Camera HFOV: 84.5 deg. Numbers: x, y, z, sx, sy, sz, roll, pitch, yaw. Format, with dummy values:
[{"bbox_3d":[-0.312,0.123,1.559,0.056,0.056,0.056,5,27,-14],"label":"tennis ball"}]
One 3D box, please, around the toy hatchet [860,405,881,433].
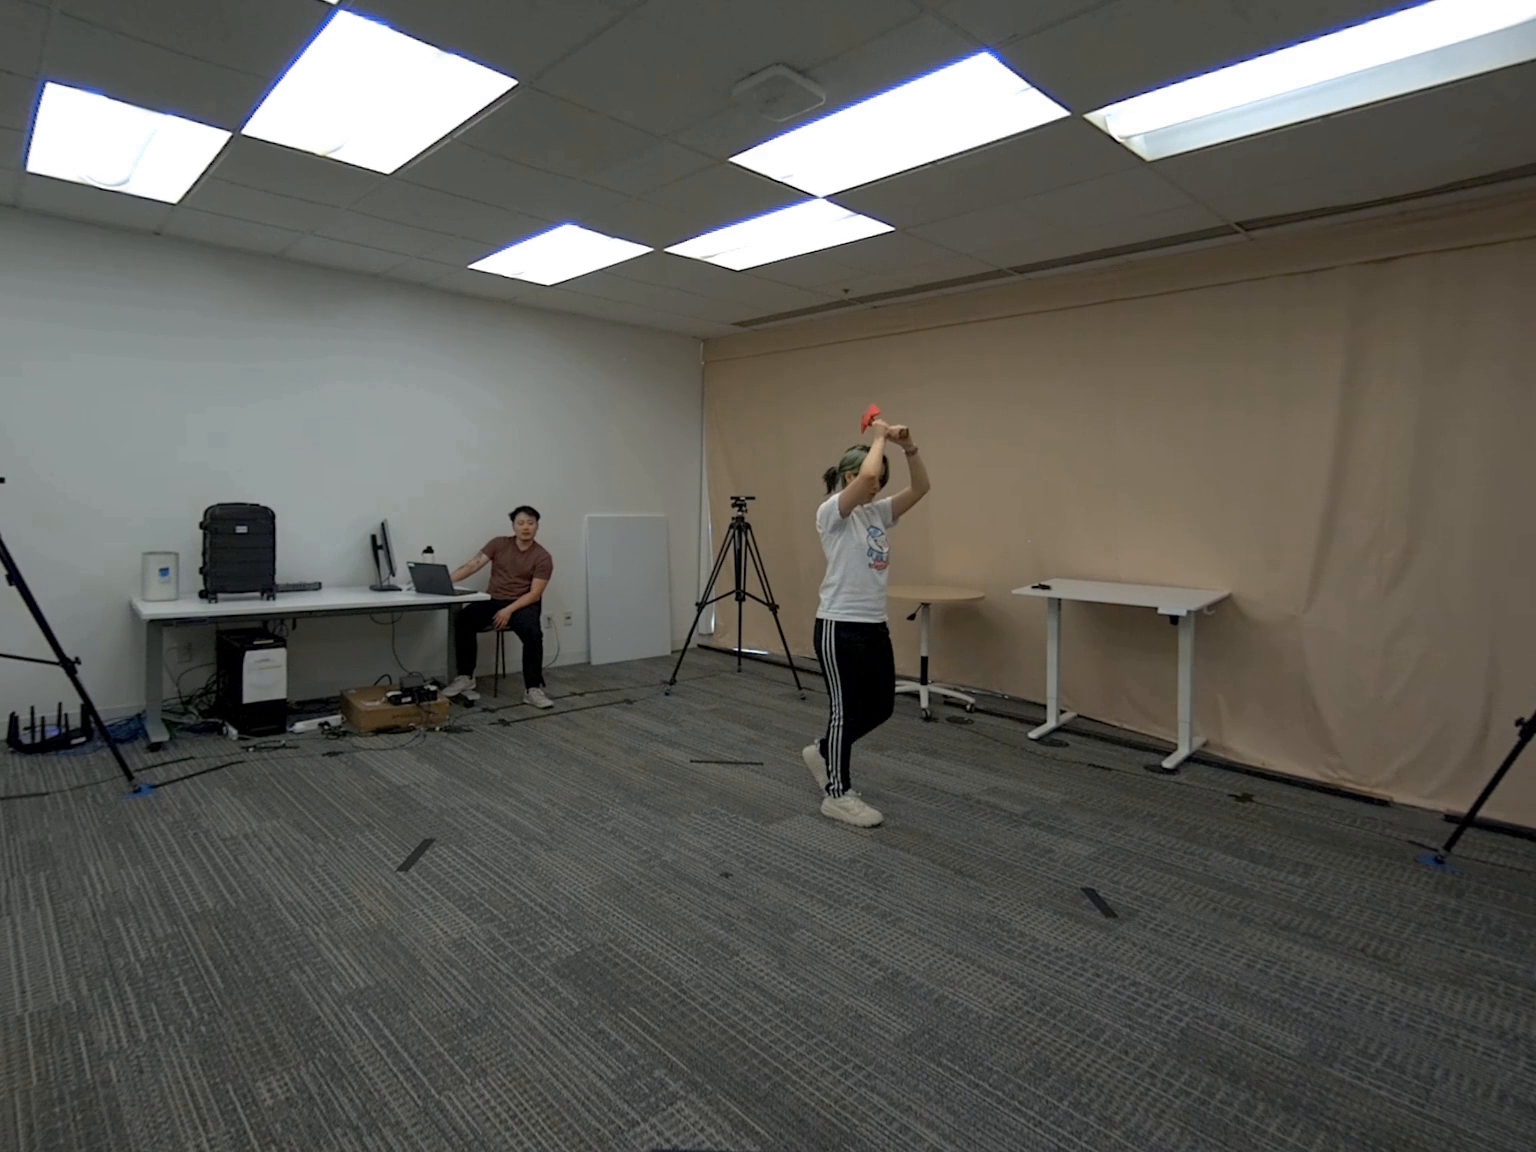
[{"bbox_3d":[0.489,-0.664,3.584,0.029,0.130,0.278,5,7,-39],"label":"toy hatchet"}]
